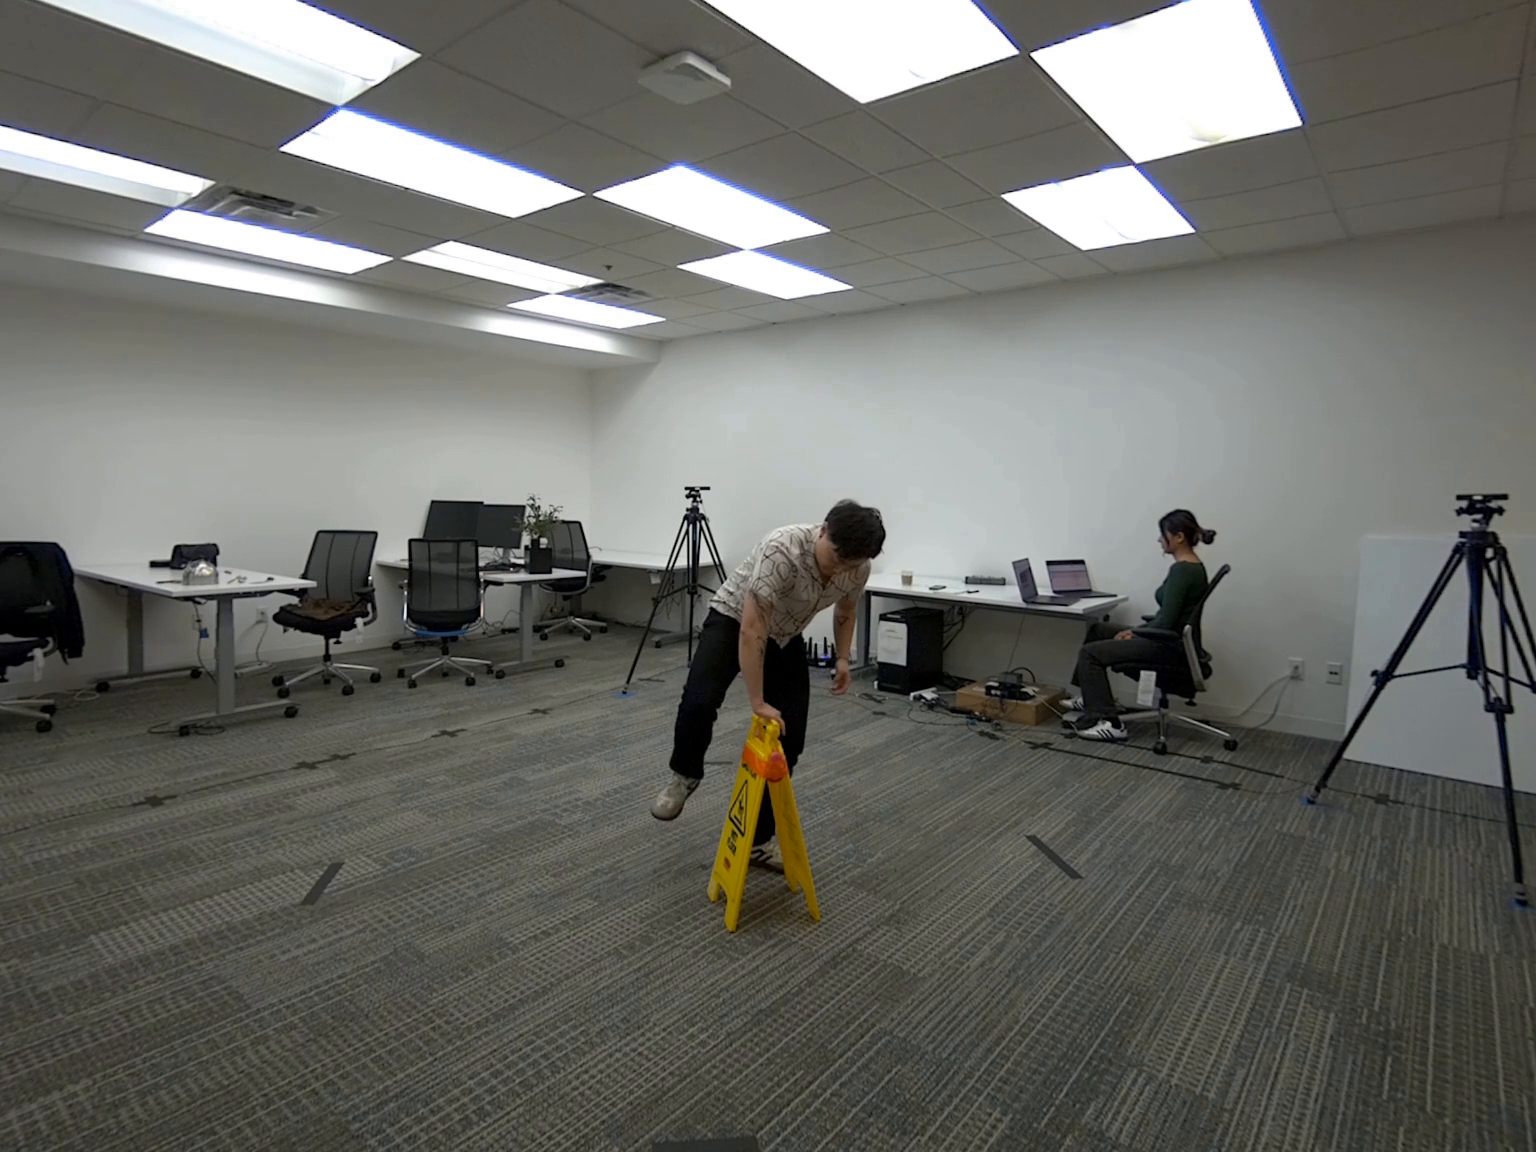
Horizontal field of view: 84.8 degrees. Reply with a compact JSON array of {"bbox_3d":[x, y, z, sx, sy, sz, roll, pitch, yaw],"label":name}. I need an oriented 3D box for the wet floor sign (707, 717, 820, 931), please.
[{"bbox_3d":[-0.021,0.773,2.804,0.284,0.644,0.288,1,4,-18],"label":"wet floor sign"}]
